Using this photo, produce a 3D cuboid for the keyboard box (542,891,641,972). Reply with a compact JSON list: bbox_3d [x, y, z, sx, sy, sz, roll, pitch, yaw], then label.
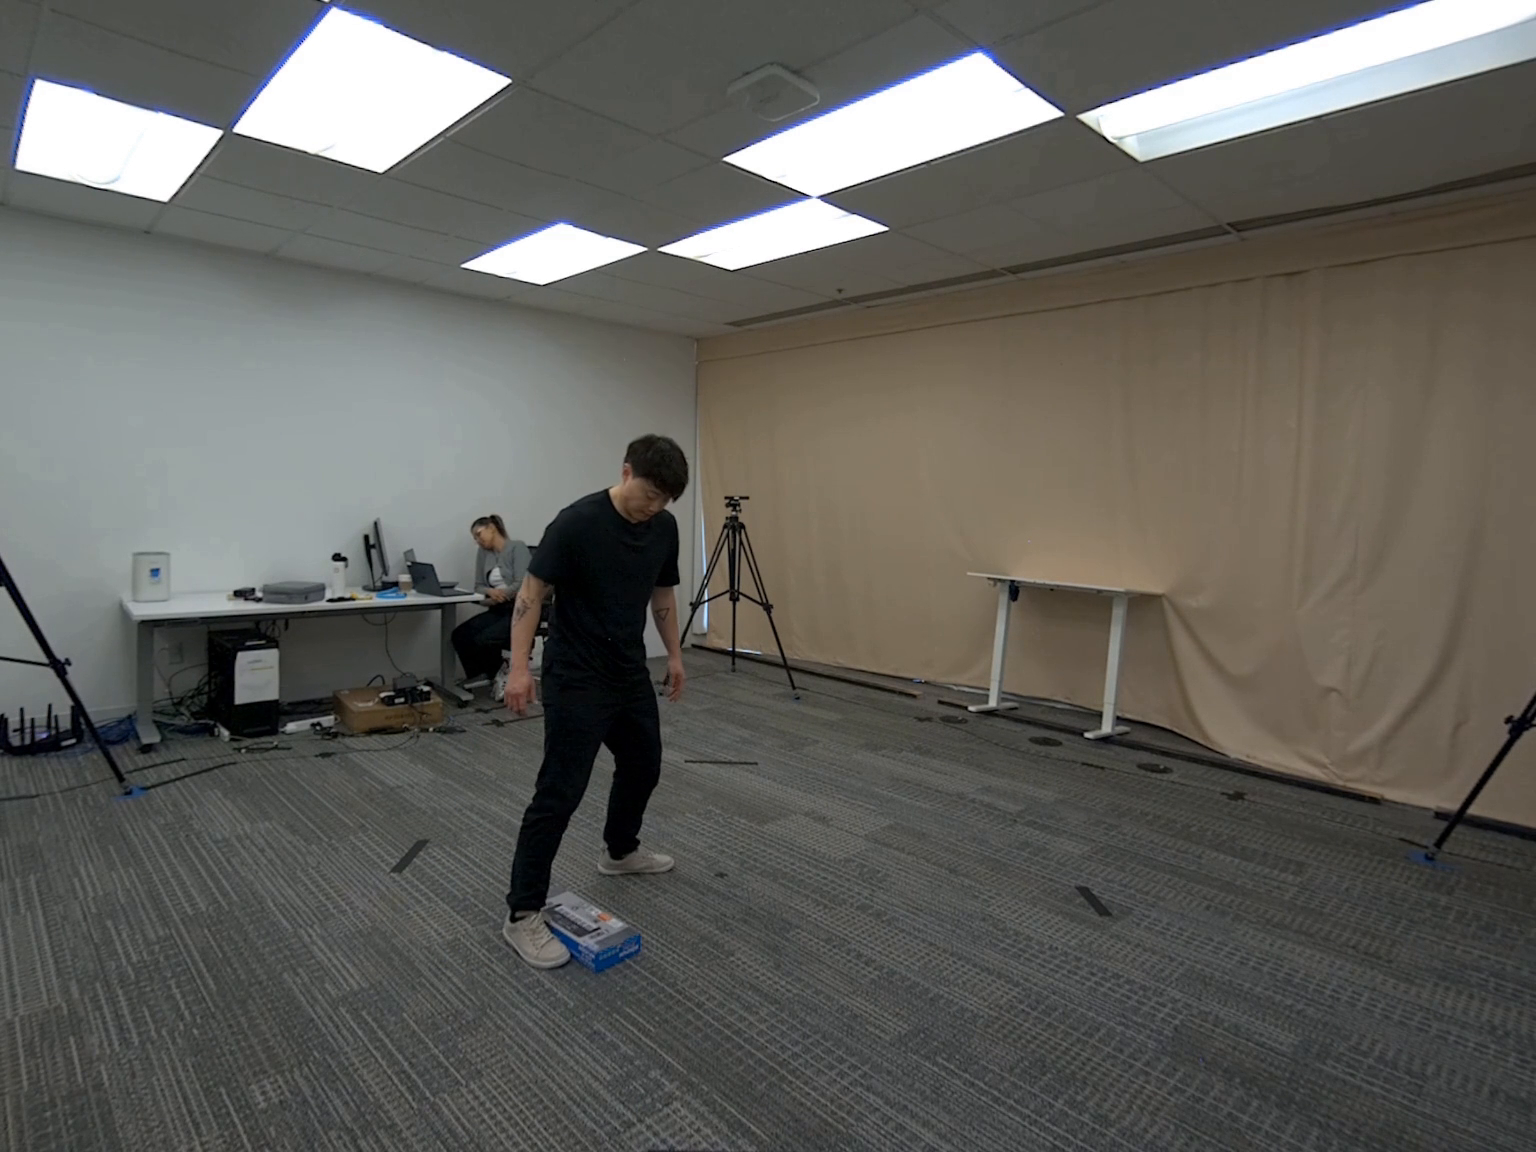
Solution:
[{"bbox_3d":[-0.608,1.107,2.654,0.448,0.059,0.172,6,7,44],"label":"keyboard box"}]
